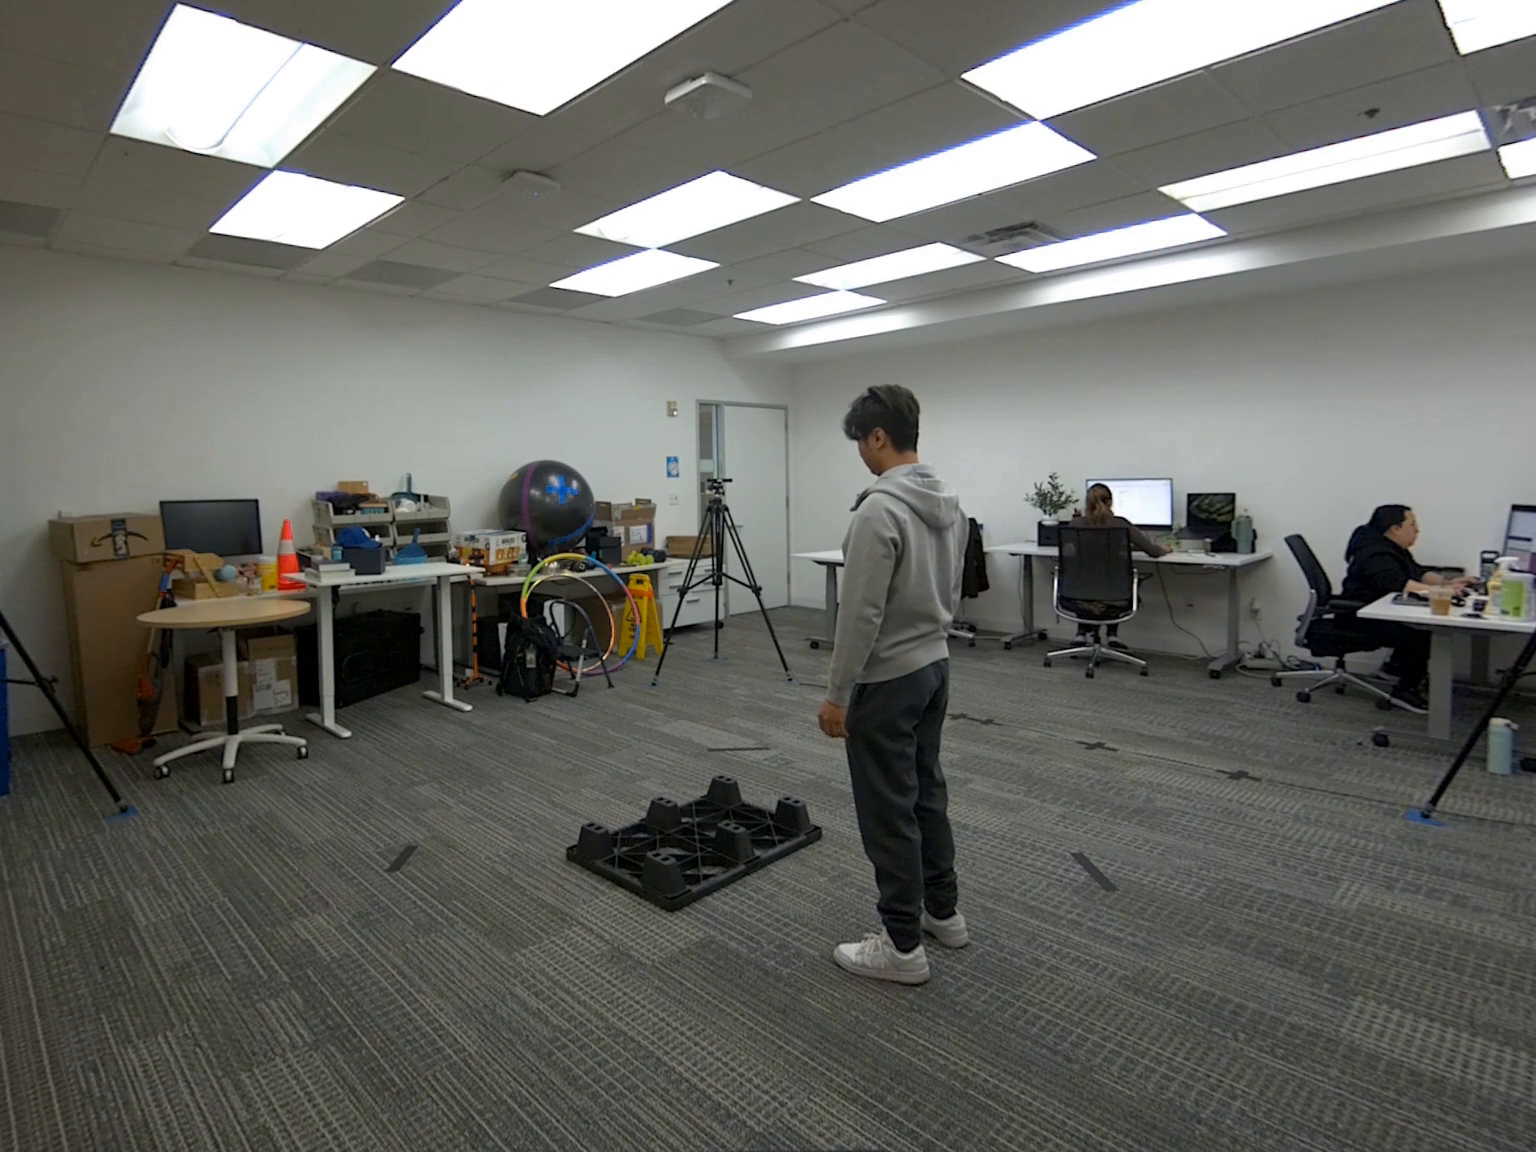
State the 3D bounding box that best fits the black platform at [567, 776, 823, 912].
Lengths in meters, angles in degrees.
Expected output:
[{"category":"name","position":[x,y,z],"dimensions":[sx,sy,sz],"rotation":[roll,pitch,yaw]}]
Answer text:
[{"category":"black platform","position":[-0.267,0.966,3.250],"dimensions":[0.624,0.142,0.785],"rotation":[5,9,43]}]
